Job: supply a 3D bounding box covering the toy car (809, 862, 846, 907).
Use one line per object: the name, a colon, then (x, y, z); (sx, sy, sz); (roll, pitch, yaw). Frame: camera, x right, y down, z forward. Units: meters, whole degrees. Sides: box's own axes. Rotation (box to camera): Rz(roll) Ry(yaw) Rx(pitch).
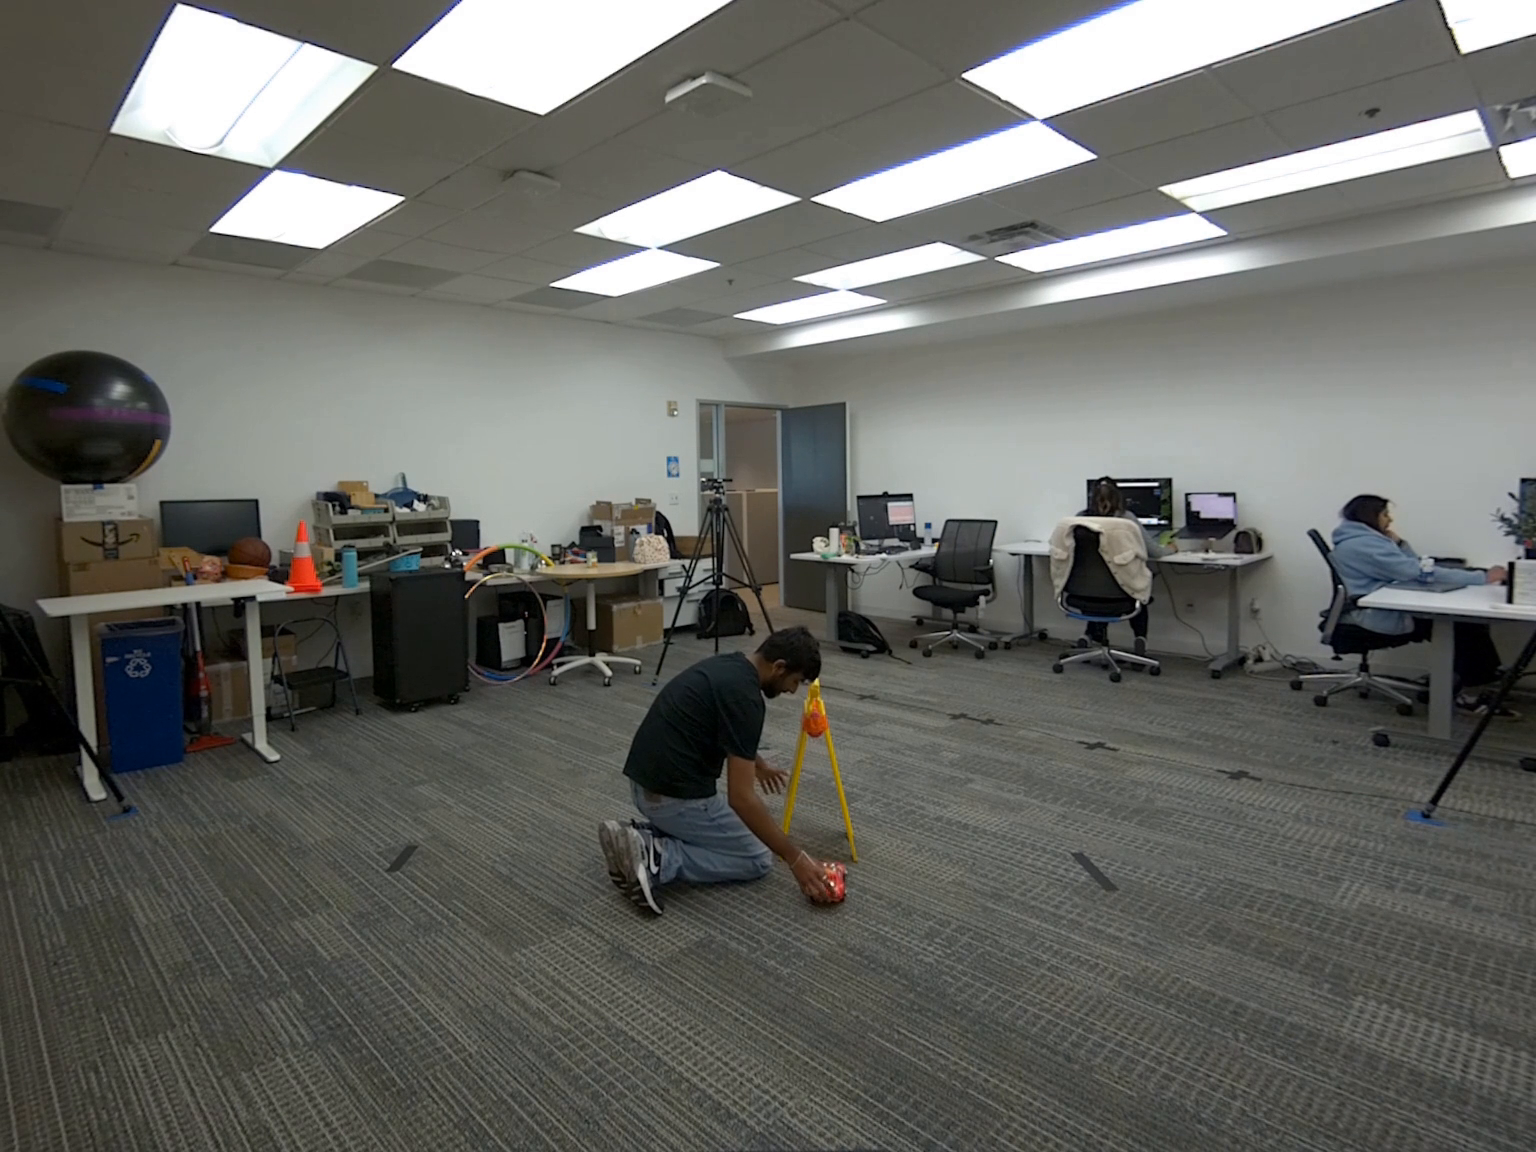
toy car: (0.199, 1.024, 2.895); (0.131, 0.084, 0.251); (2, -5, 7)
